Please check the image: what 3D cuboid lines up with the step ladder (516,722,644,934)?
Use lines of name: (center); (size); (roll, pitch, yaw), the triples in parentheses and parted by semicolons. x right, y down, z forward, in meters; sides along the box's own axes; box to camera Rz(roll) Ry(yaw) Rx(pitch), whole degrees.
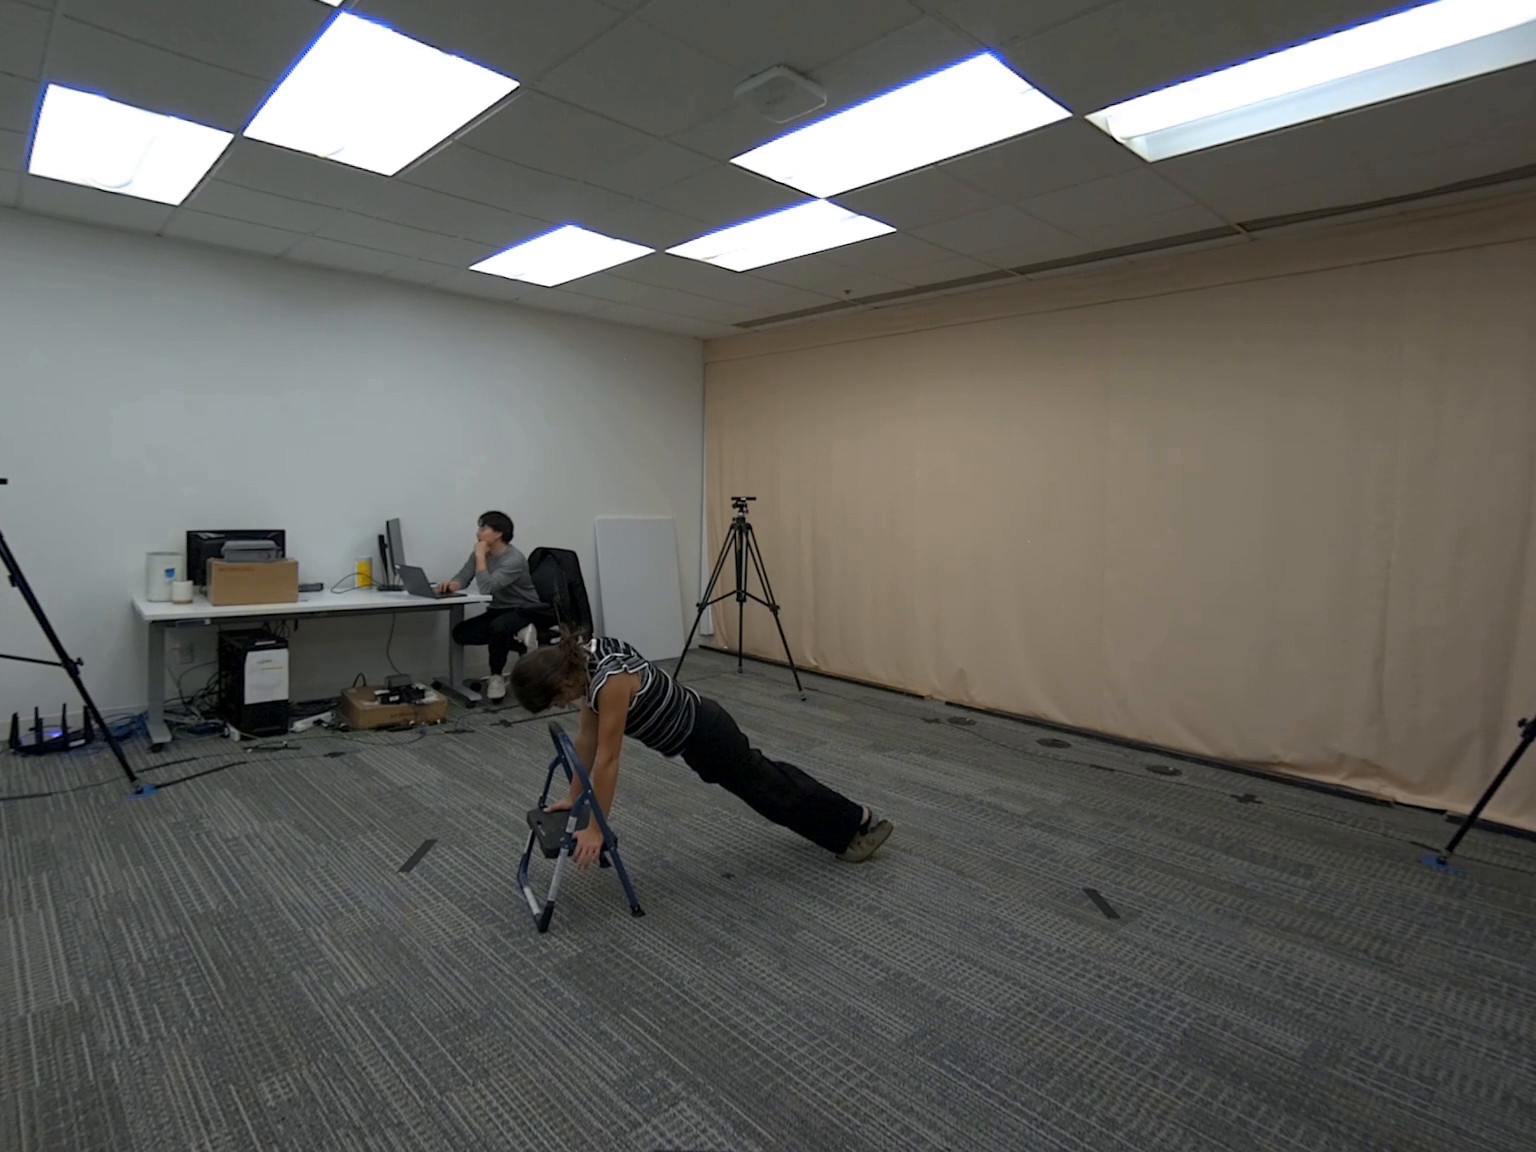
step ladder: (-0.662, 0.815, 2.900); (0.343, 0.604, 0.440); (-1, 4, -27)
